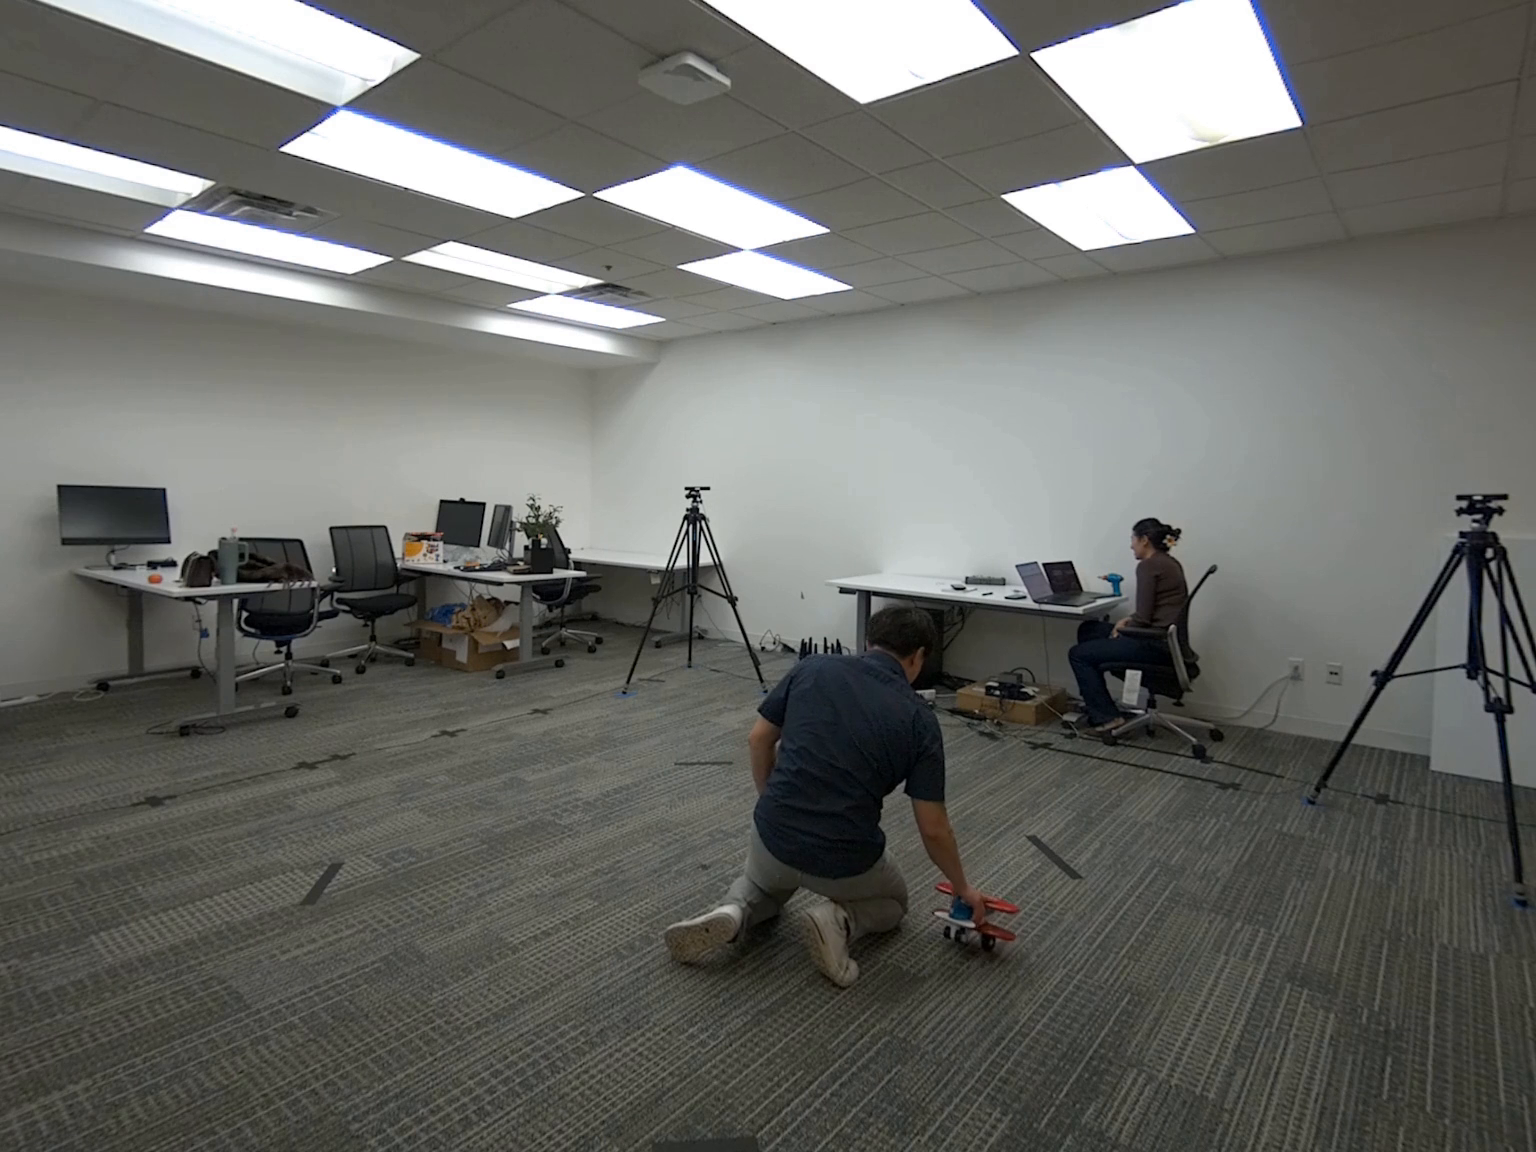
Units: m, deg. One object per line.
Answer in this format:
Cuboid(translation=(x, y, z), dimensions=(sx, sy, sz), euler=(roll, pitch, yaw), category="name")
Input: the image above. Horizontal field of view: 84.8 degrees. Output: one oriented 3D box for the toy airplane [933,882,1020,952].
Cuboid(translation=(0.621, 1.039, 2.560), dimensions=(0.254, 0.158, 0.253), euler=(14, -17, 10), category="toy airplane")
